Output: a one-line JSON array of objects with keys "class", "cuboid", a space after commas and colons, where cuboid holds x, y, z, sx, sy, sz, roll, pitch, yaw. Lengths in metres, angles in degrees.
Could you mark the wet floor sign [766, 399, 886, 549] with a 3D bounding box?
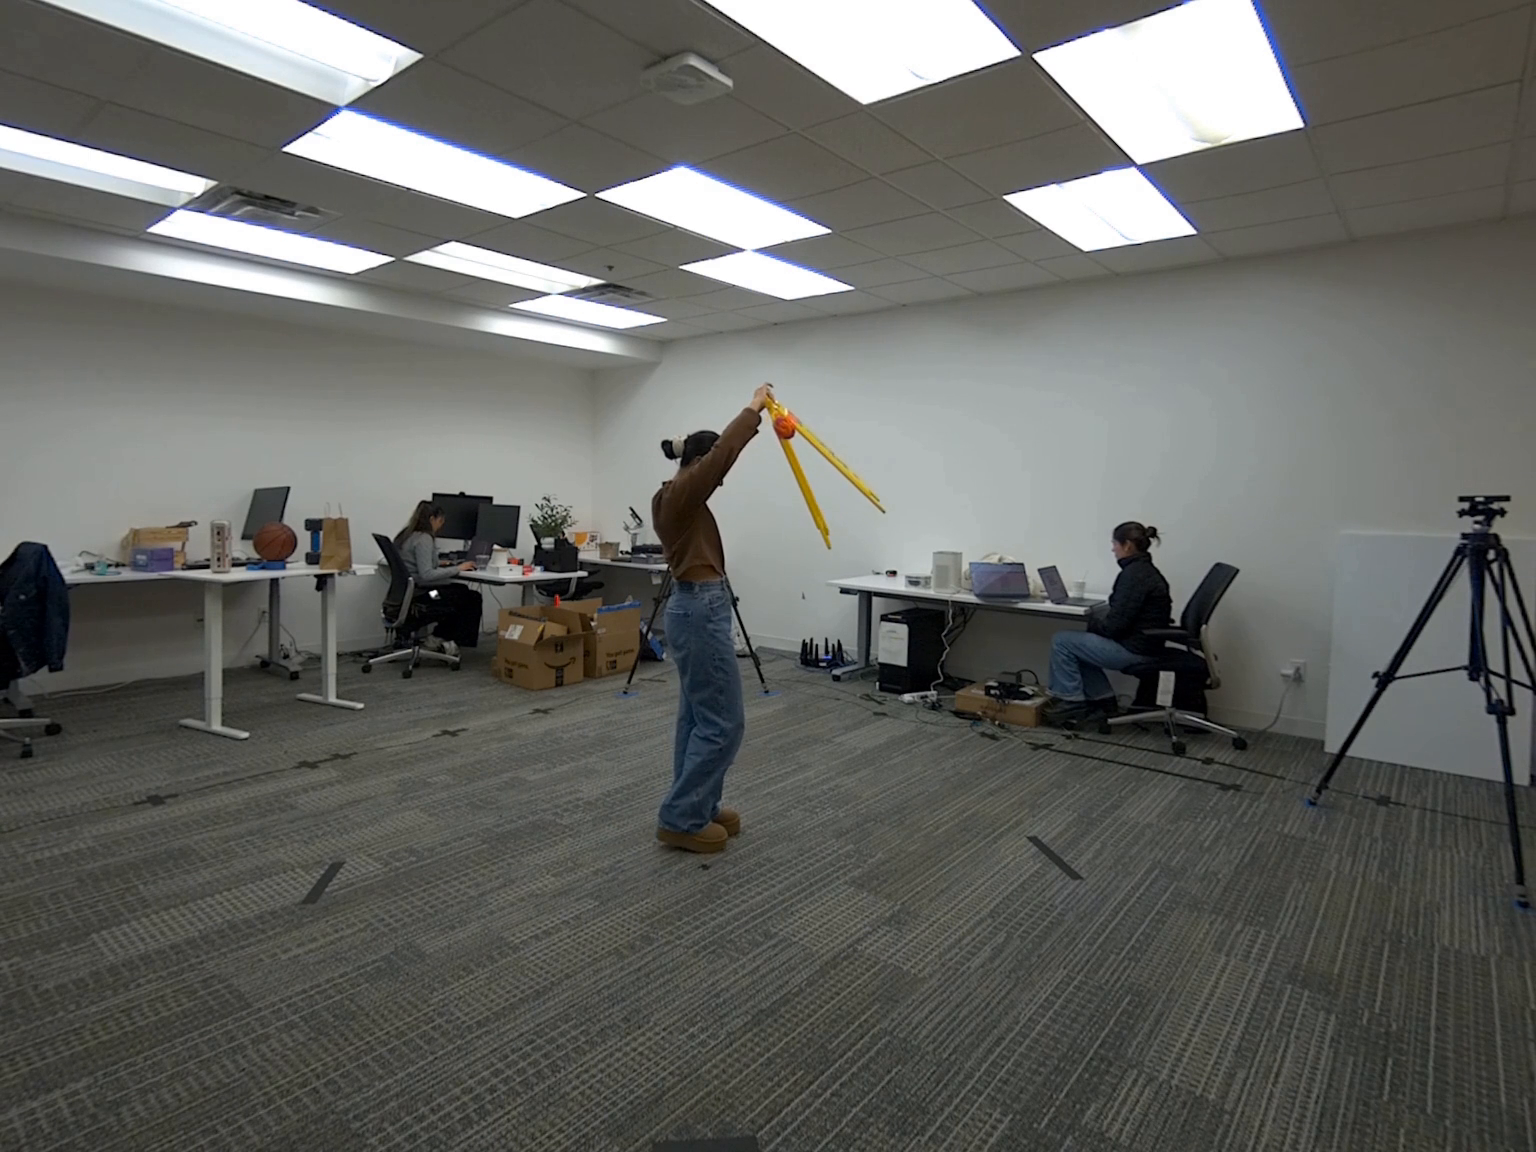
[{"class": "wet floor sign", "cuboid": [0.164, -0.471, 3.443, 0.290, 0.635, 0.286, -33, 13, 8]}]
